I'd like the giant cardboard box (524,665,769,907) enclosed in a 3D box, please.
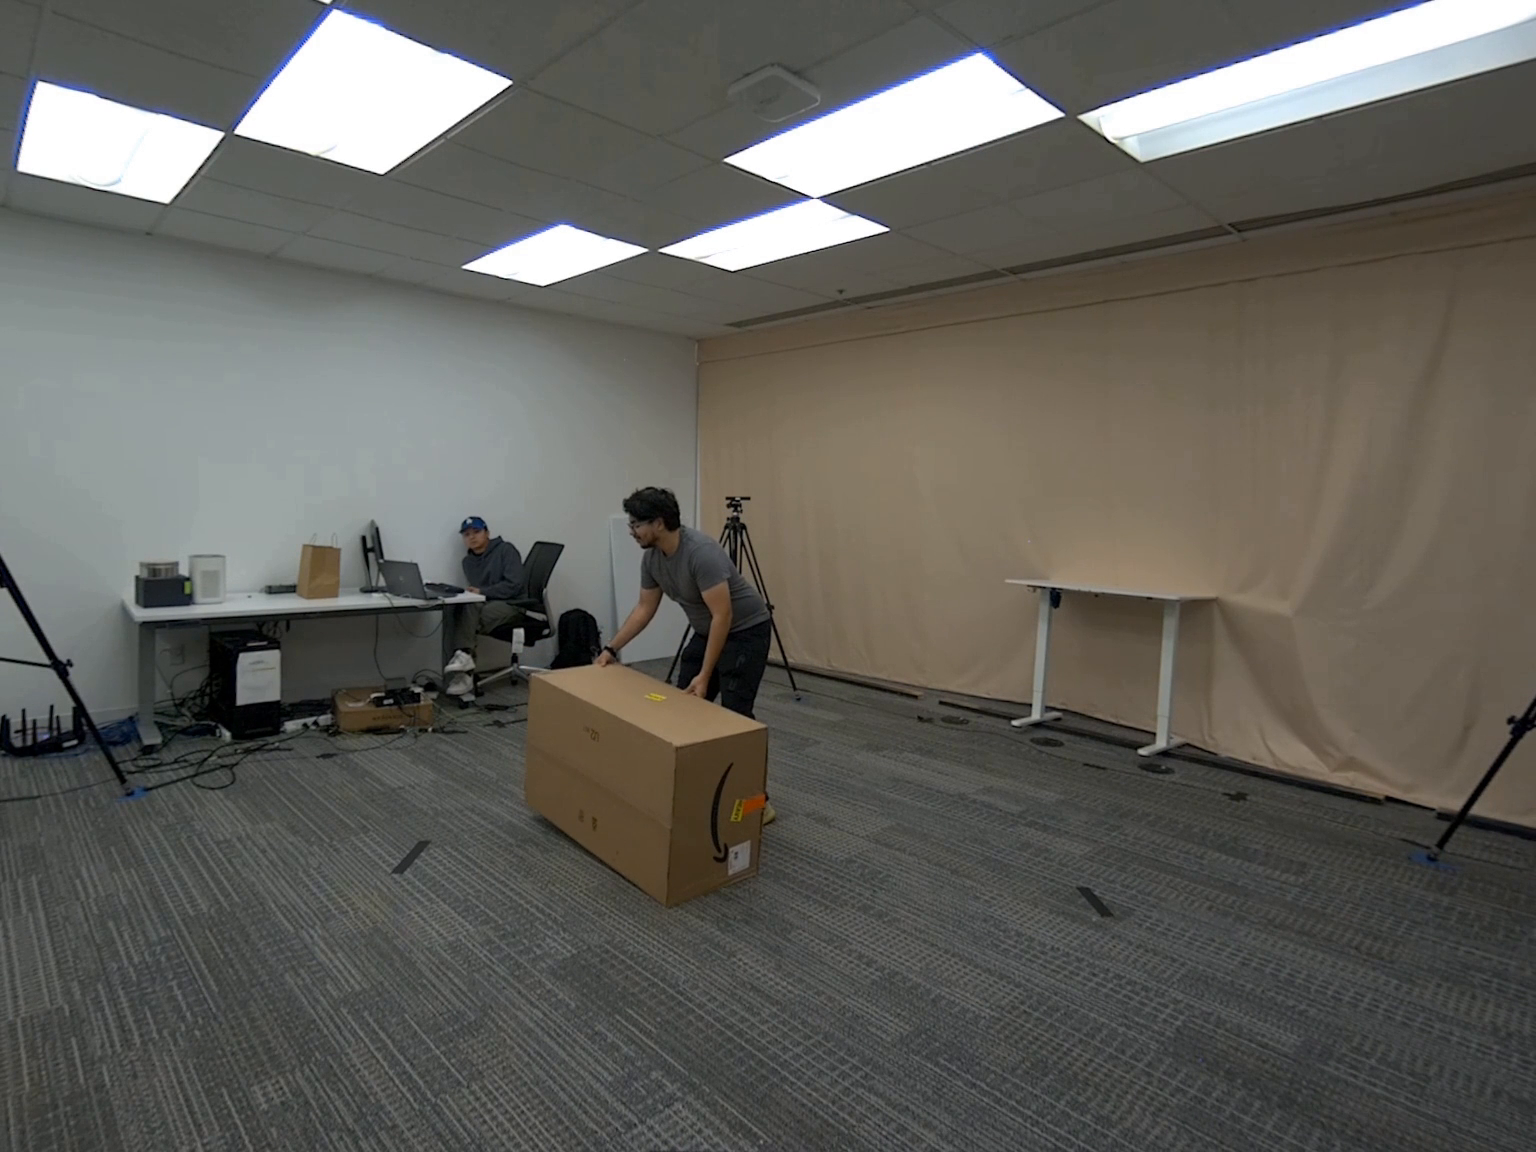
[{"bbox_3d":[-0.530,0.764,3.327,0.416,0.575,1.054,-2,9,-42],"label":"giant cardboard box"}]
